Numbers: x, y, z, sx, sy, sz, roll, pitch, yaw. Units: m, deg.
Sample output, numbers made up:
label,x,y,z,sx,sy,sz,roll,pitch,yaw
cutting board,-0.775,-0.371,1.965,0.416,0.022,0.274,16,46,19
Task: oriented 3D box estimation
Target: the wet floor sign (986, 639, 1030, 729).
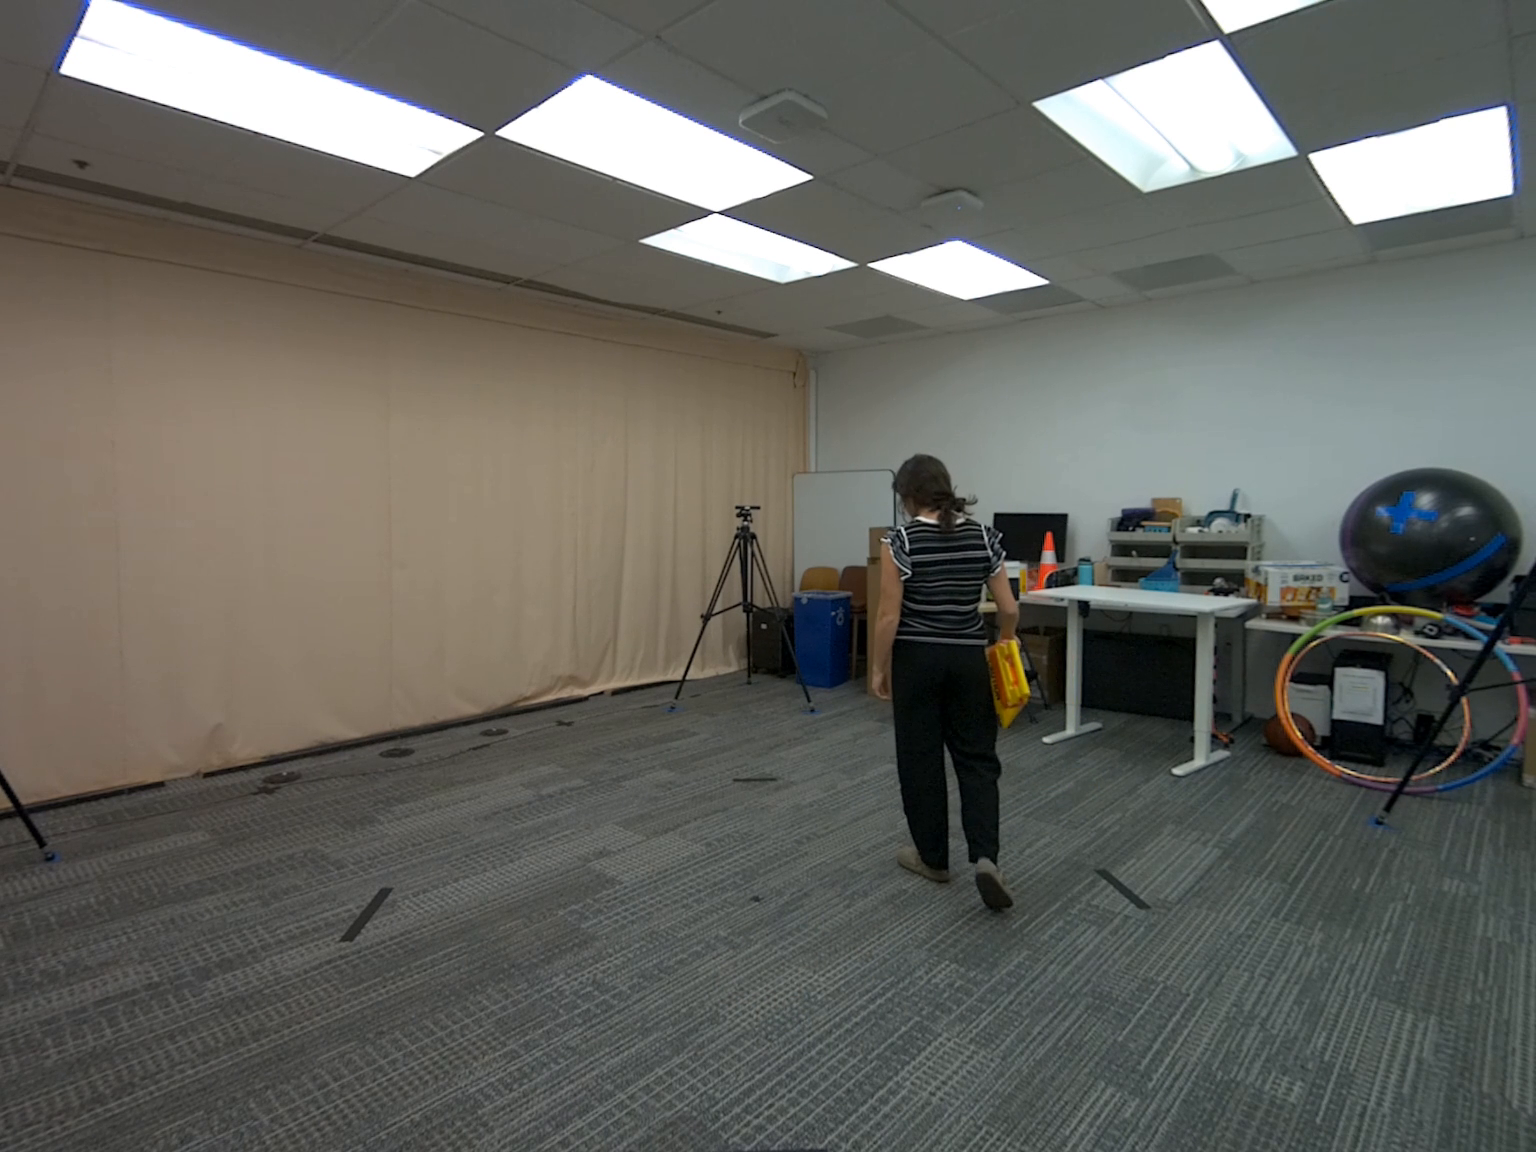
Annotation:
label,x,y,z,sx,sy,sz,roll,pitch,yaw
wet floor sign,0.878,0.423,3.248,0.288,0.286,0.640,-6,-19,-6
